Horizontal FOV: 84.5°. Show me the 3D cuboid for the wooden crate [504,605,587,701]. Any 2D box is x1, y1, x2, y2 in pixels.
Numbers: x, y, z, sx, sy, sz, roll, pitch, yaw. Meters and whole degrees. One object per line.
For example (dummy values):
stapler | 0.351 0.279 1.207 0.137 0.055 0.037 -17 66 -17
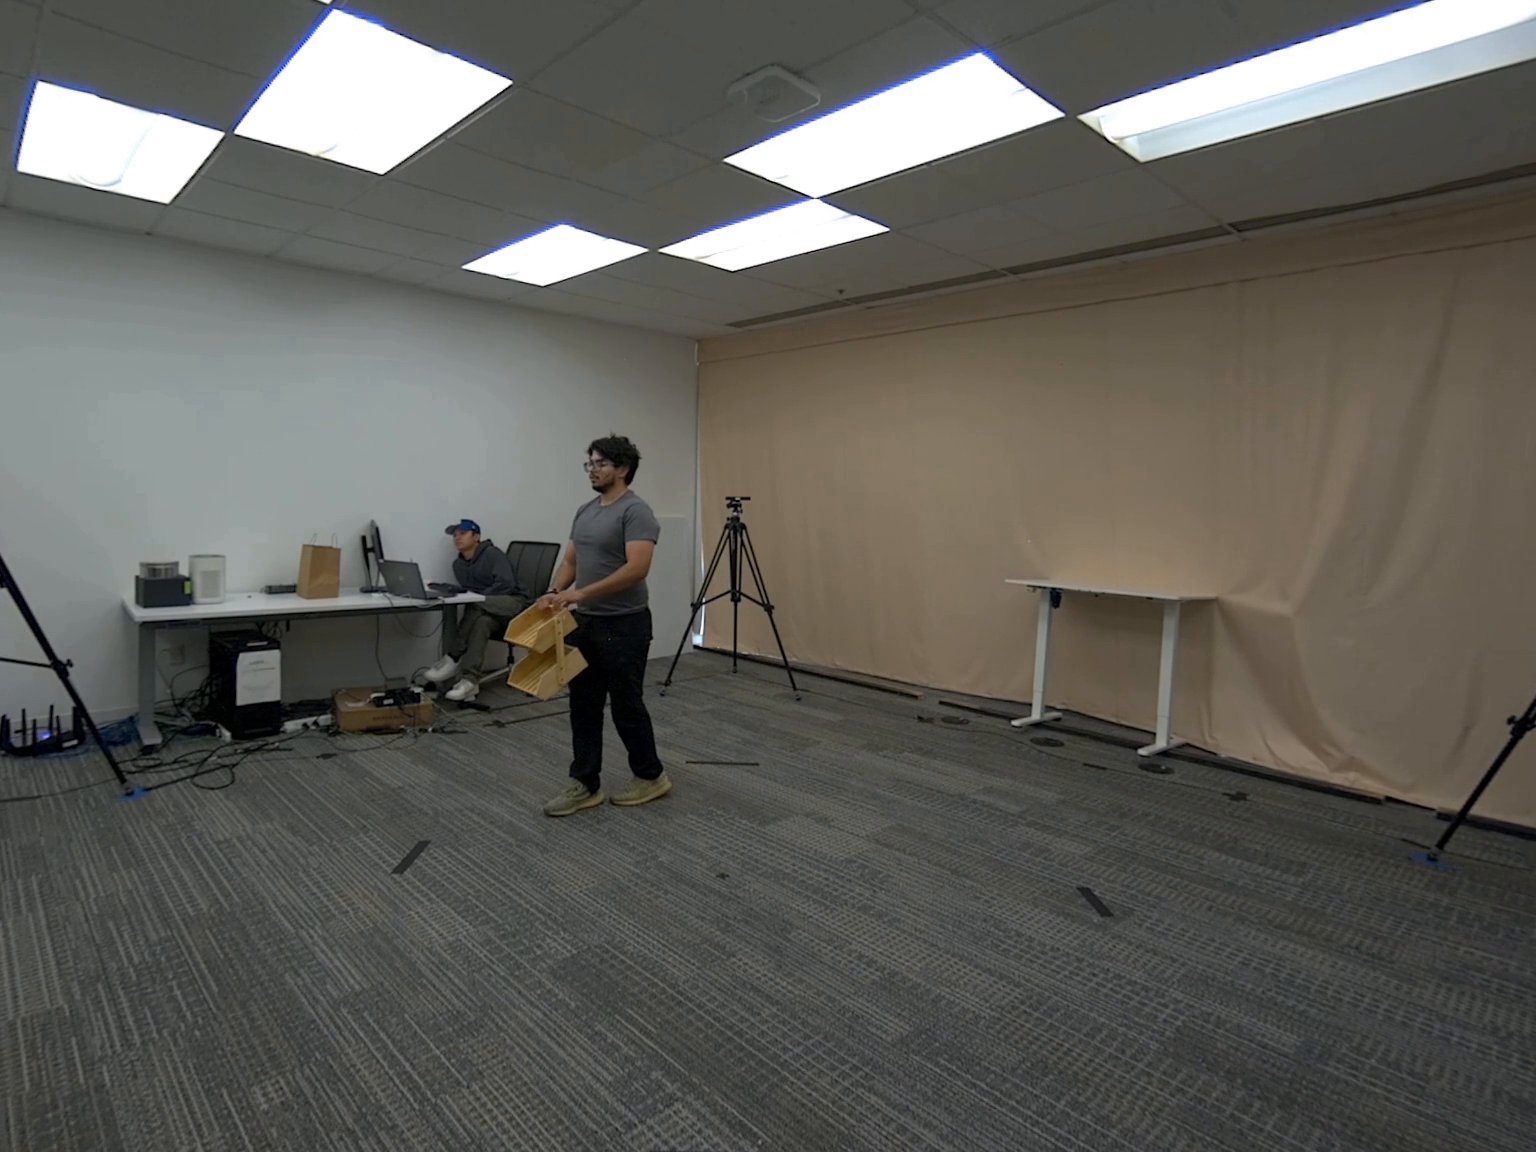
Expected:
wooden crate | -0.978 0.317 3.541 0.301 0.268 0.332 -41 25 -29
